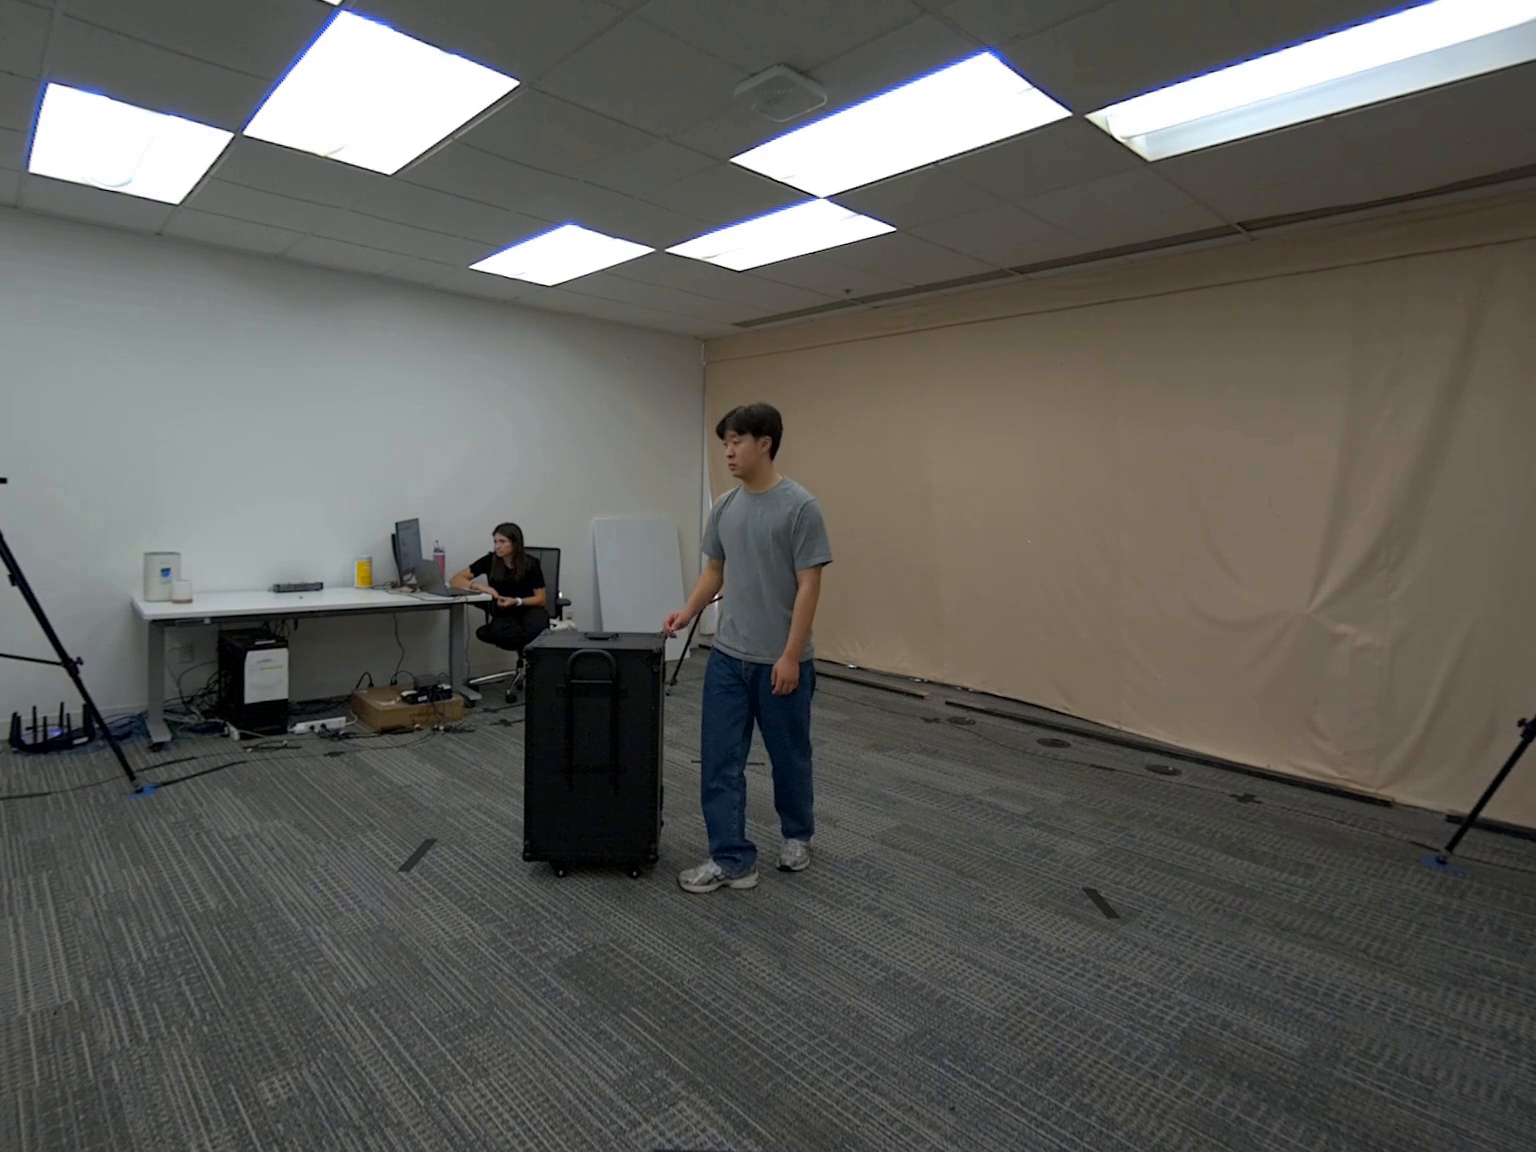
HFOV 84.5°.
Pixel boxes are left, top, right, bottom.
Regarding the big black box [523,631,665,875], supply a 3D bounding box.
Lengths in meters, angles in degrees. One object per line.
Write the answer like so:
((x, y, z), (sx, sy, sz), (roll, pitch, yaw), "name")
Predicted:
((-0.642, 0.661, 3.169), (0.520, 0.859, 0.398), (2, 4, -2), "big black box")
